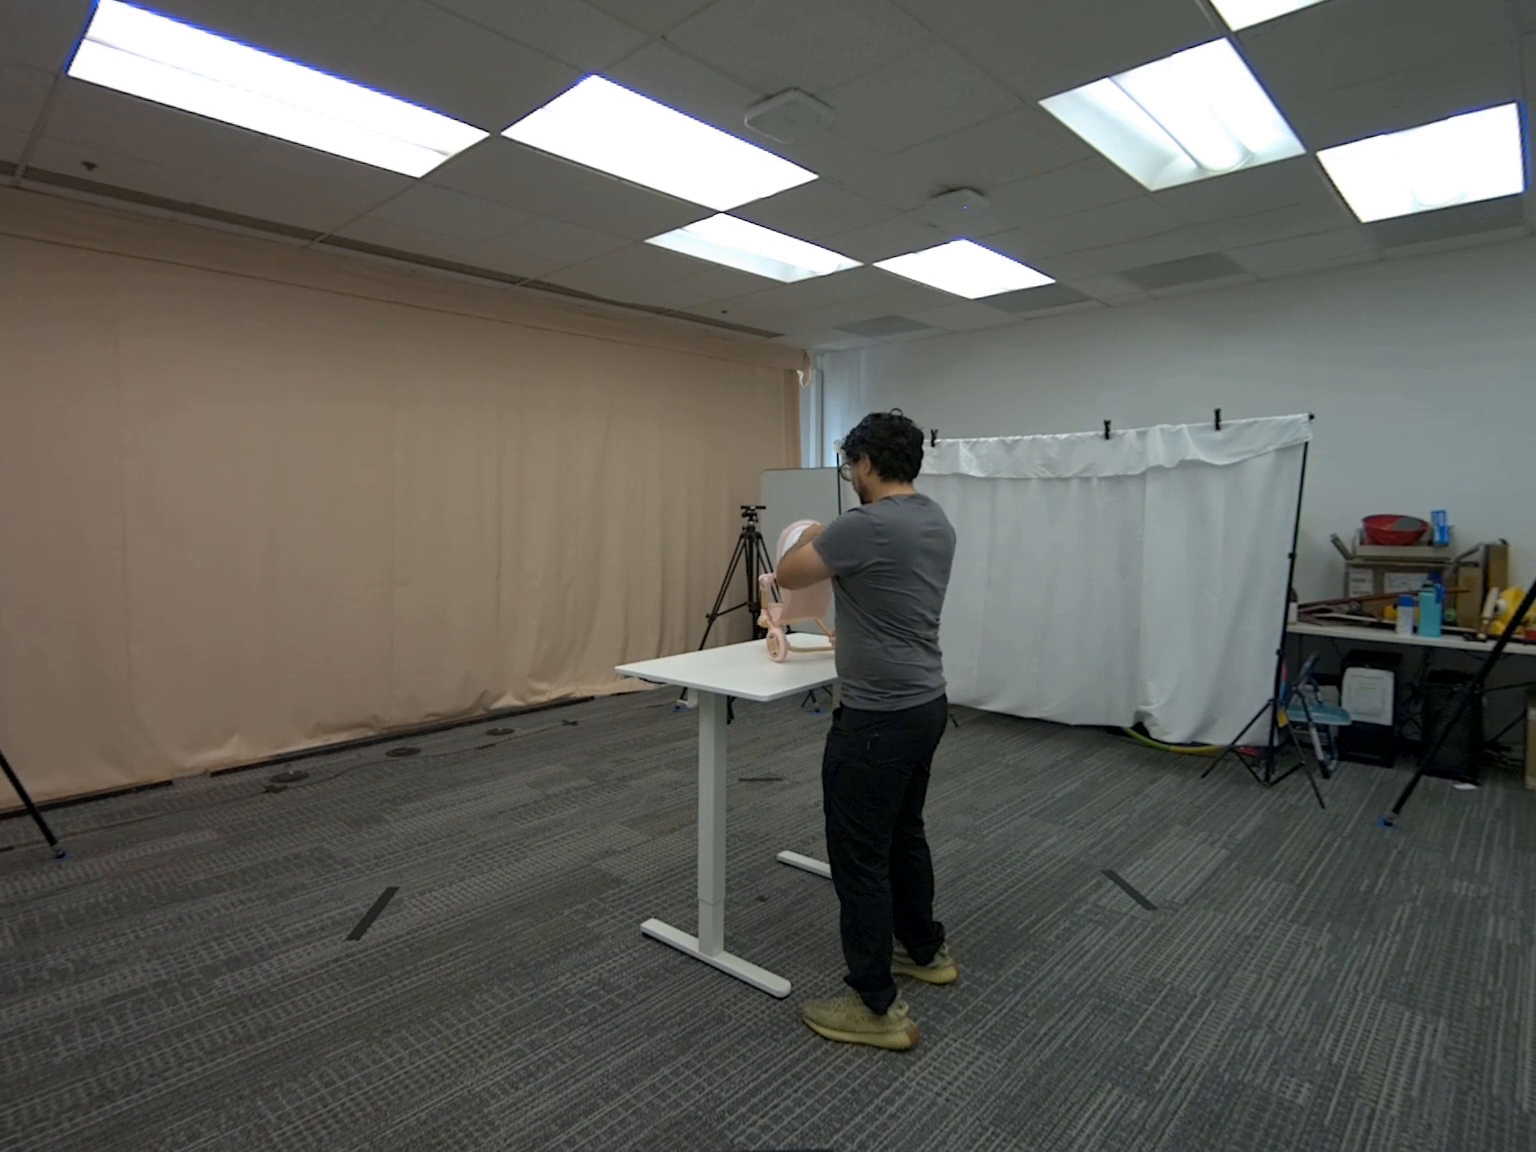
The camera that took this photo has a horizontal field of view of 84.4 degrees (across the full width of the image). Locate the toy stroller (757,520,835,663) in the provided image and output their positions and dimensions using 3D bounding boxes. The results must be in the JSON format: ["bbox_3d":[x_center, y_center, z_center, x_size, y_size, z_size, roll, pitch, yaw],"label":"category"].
[{"bbox_3d":[0.117,0.051,2.829,0.275,0.530,0.352,0,19,-23],"label":"toy stroller"}]
